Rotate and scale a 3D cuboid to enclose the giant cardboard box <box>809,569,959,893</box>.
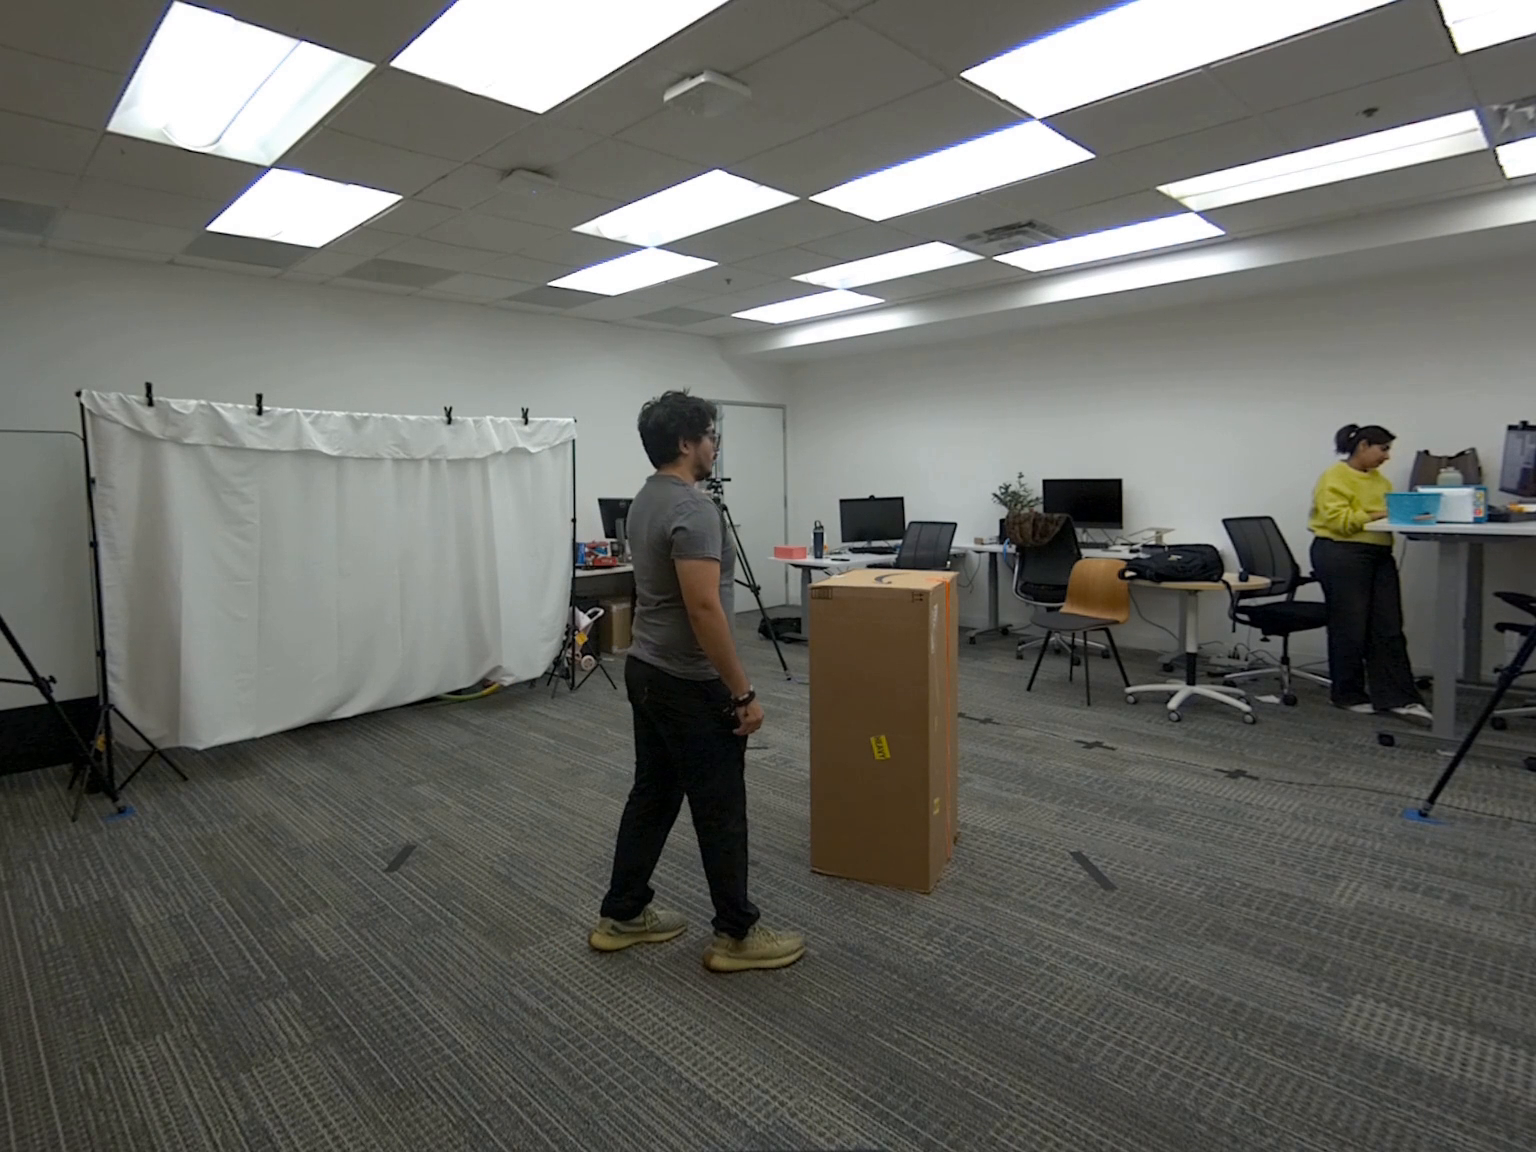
[{"bbox_3d":[0.448,0.517,3.166,0.436,1.022,0.566,1,4,24],"label":"giant cardboard box"}]
